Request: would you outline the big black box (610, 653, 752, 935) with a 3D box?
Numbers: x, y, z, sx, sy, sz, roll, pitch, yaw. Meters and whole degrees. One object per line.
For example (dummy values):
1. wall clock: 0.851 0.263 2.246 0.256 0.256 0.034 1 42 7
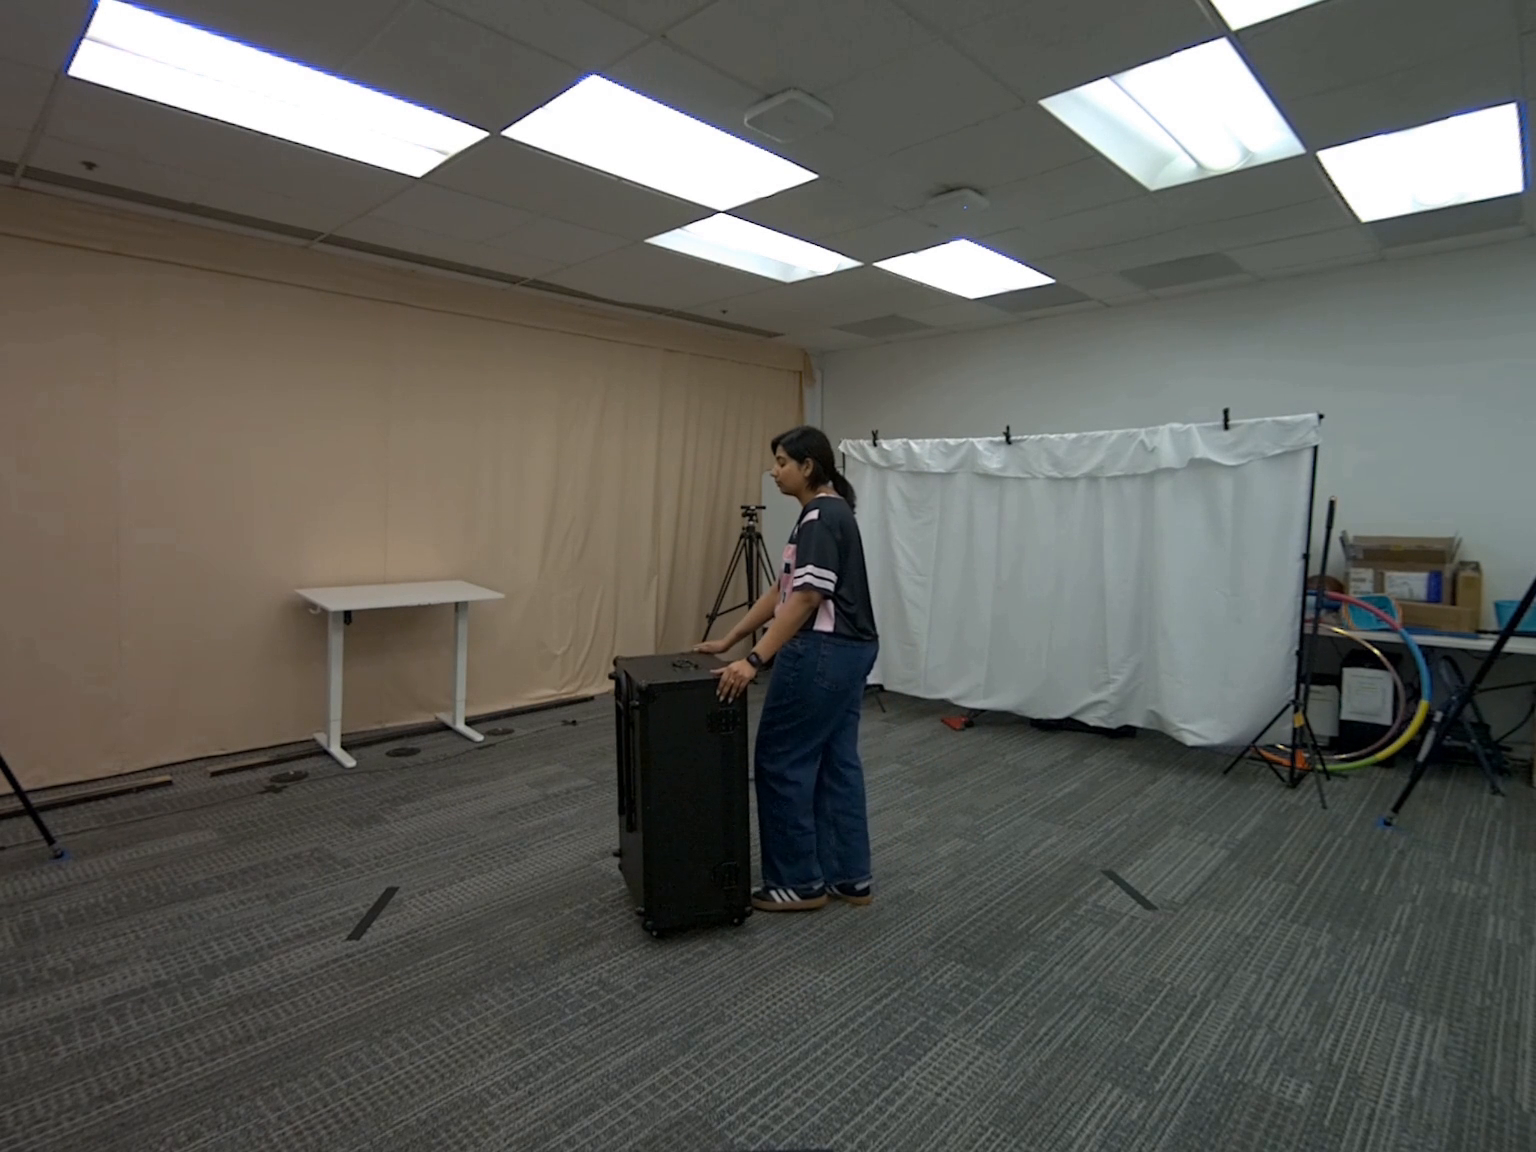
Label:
1. big black box: -0.304 0.733 2.870 0.378 0.867 0.534 -2 3 -18
